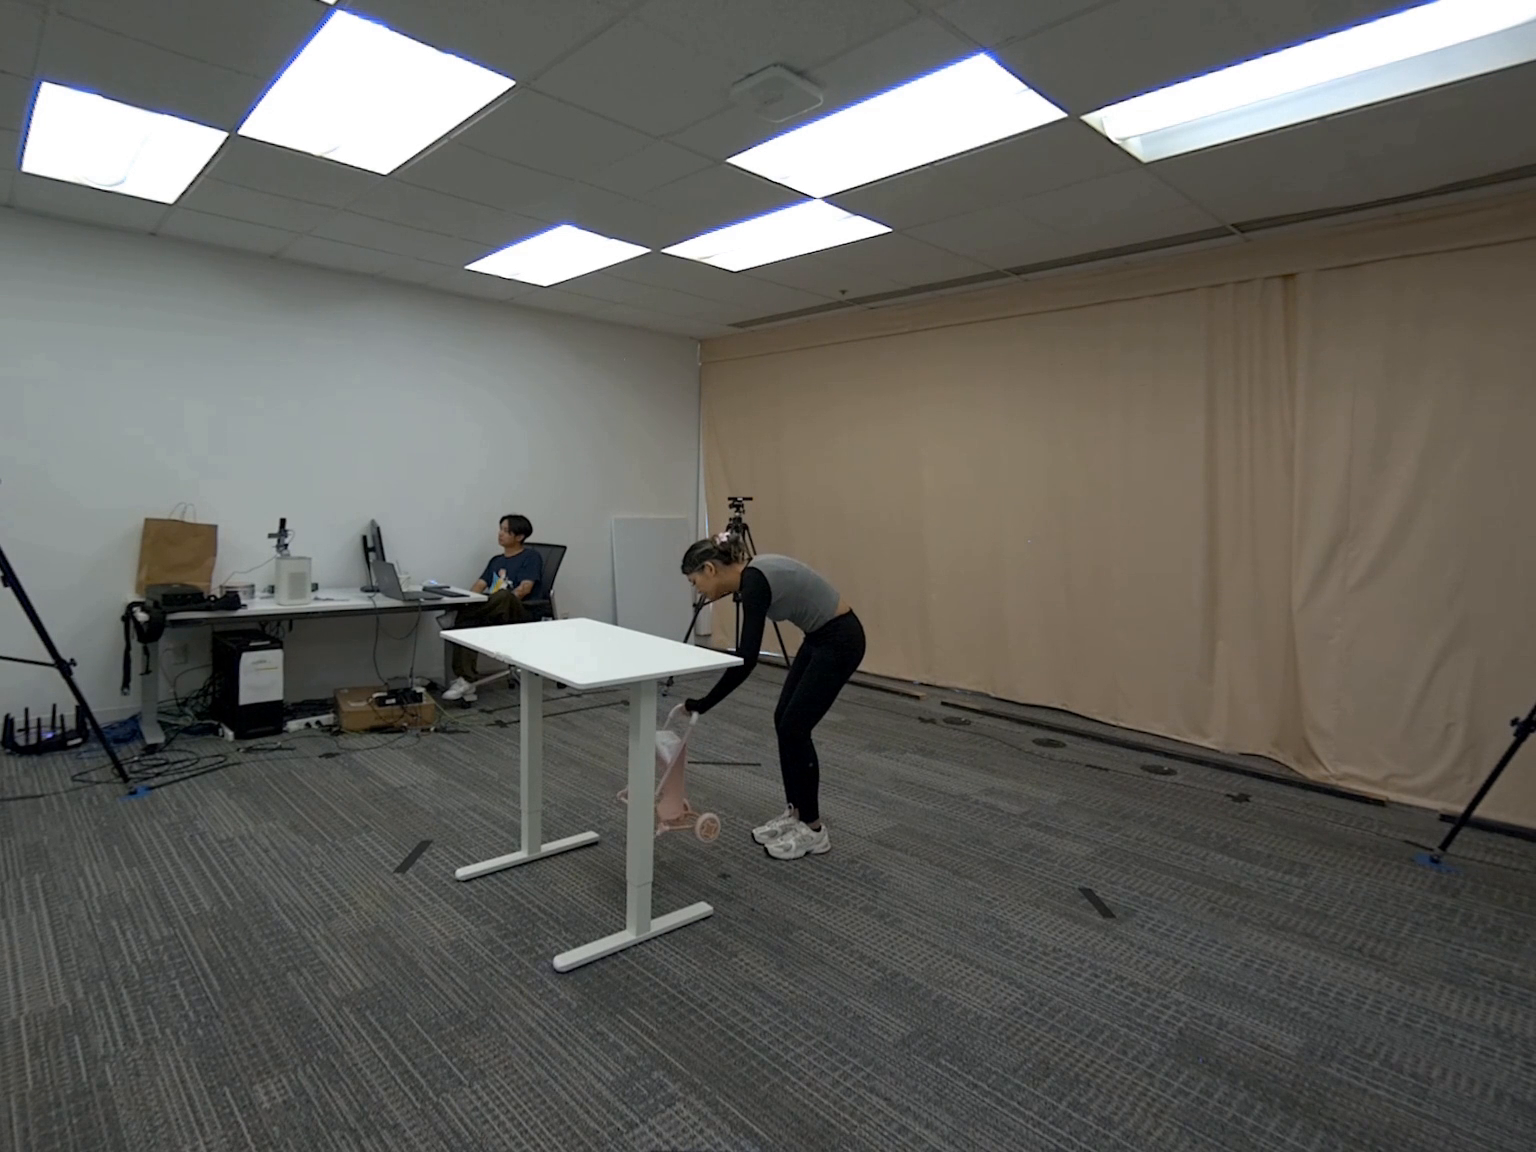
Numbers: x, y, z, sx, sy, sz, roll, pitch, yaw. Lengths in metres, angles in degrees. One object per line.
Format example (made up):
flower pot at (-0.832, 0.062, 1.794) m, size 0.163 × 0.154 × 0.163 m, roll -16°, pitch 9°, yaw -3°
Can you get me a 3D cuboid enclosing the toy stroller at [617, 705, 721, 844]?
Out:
toy stroller at (-0.408, 0.787, 3.122) m, size 0.336 × 0.533 × 0.287 m, roll -9°, pitch 4°, yaw -27°
